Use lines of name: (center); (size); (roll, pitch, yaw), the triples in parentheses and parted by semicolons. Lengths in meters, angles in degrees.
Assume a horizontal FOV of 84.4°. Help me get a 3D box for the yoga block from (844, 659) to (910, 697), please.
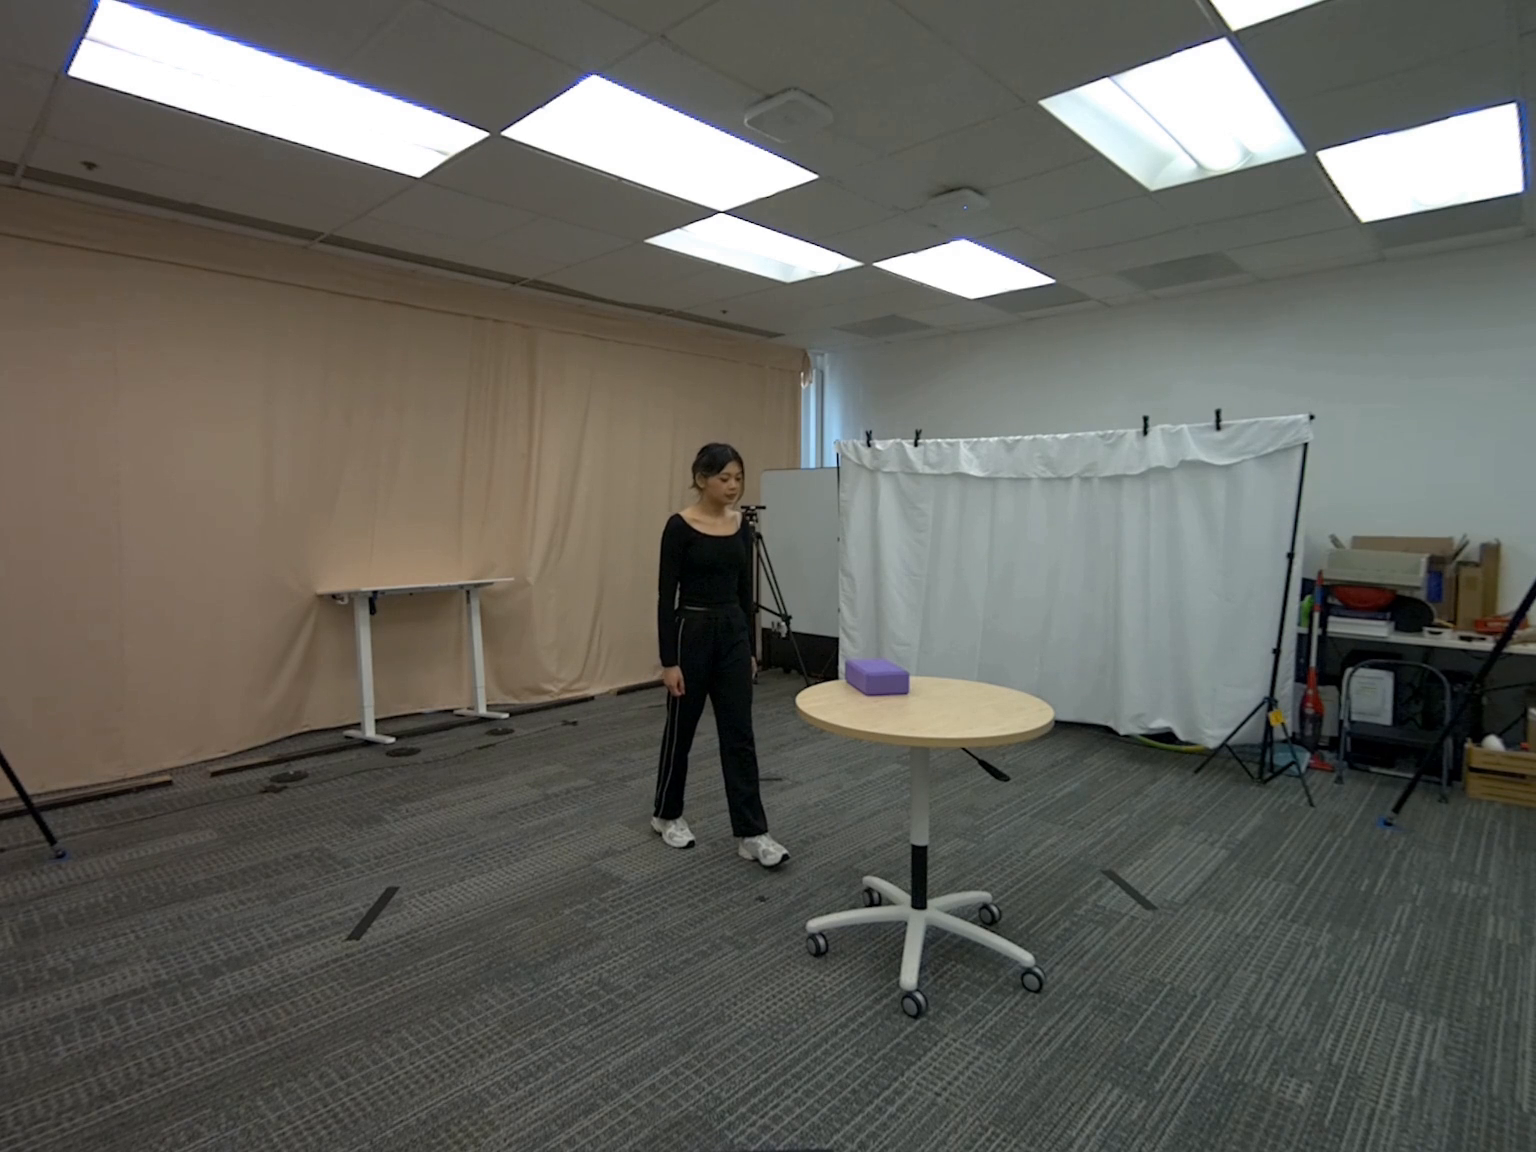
yoga block: (0.368, 0.335, 2.781); (0.148, 0.076, 0.231); (0, 5, -7)
